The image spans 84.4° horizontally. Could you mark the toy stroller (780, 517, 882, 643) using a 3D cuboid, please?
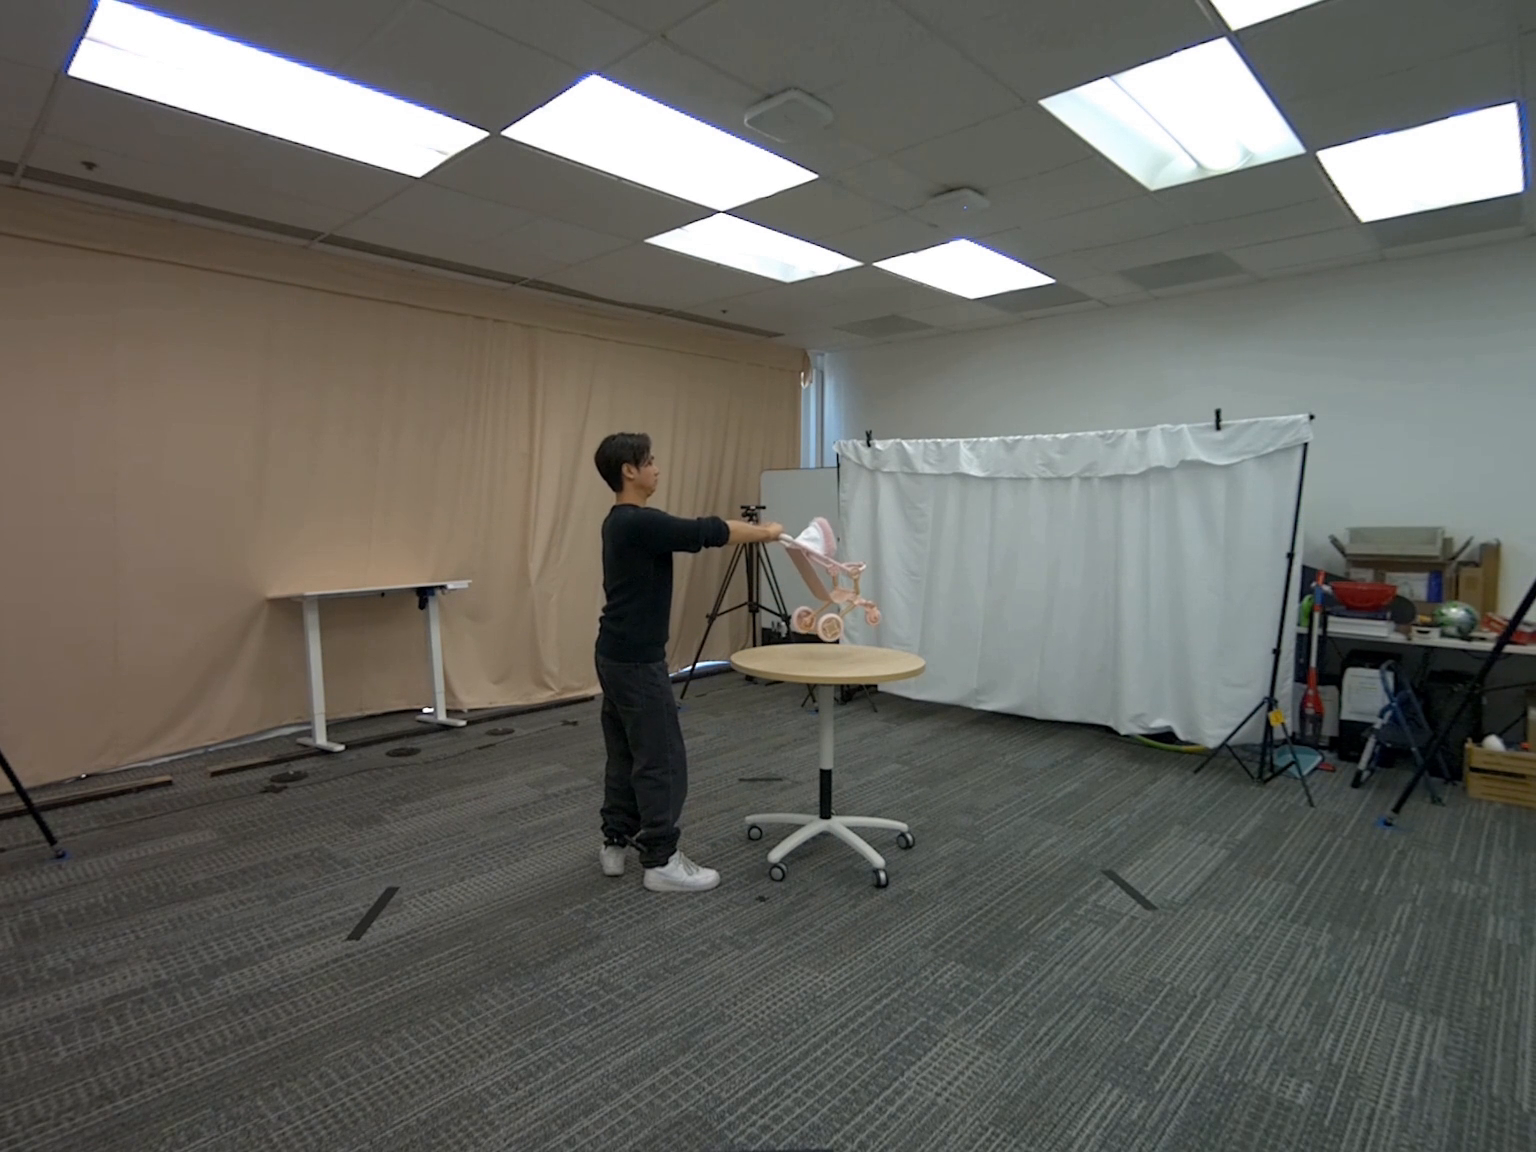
[{"bbox_3d":[0.240,0.006,3.360,0.338,0.531,0.286,-21,8,-12],"label":"toy stroller"}]
